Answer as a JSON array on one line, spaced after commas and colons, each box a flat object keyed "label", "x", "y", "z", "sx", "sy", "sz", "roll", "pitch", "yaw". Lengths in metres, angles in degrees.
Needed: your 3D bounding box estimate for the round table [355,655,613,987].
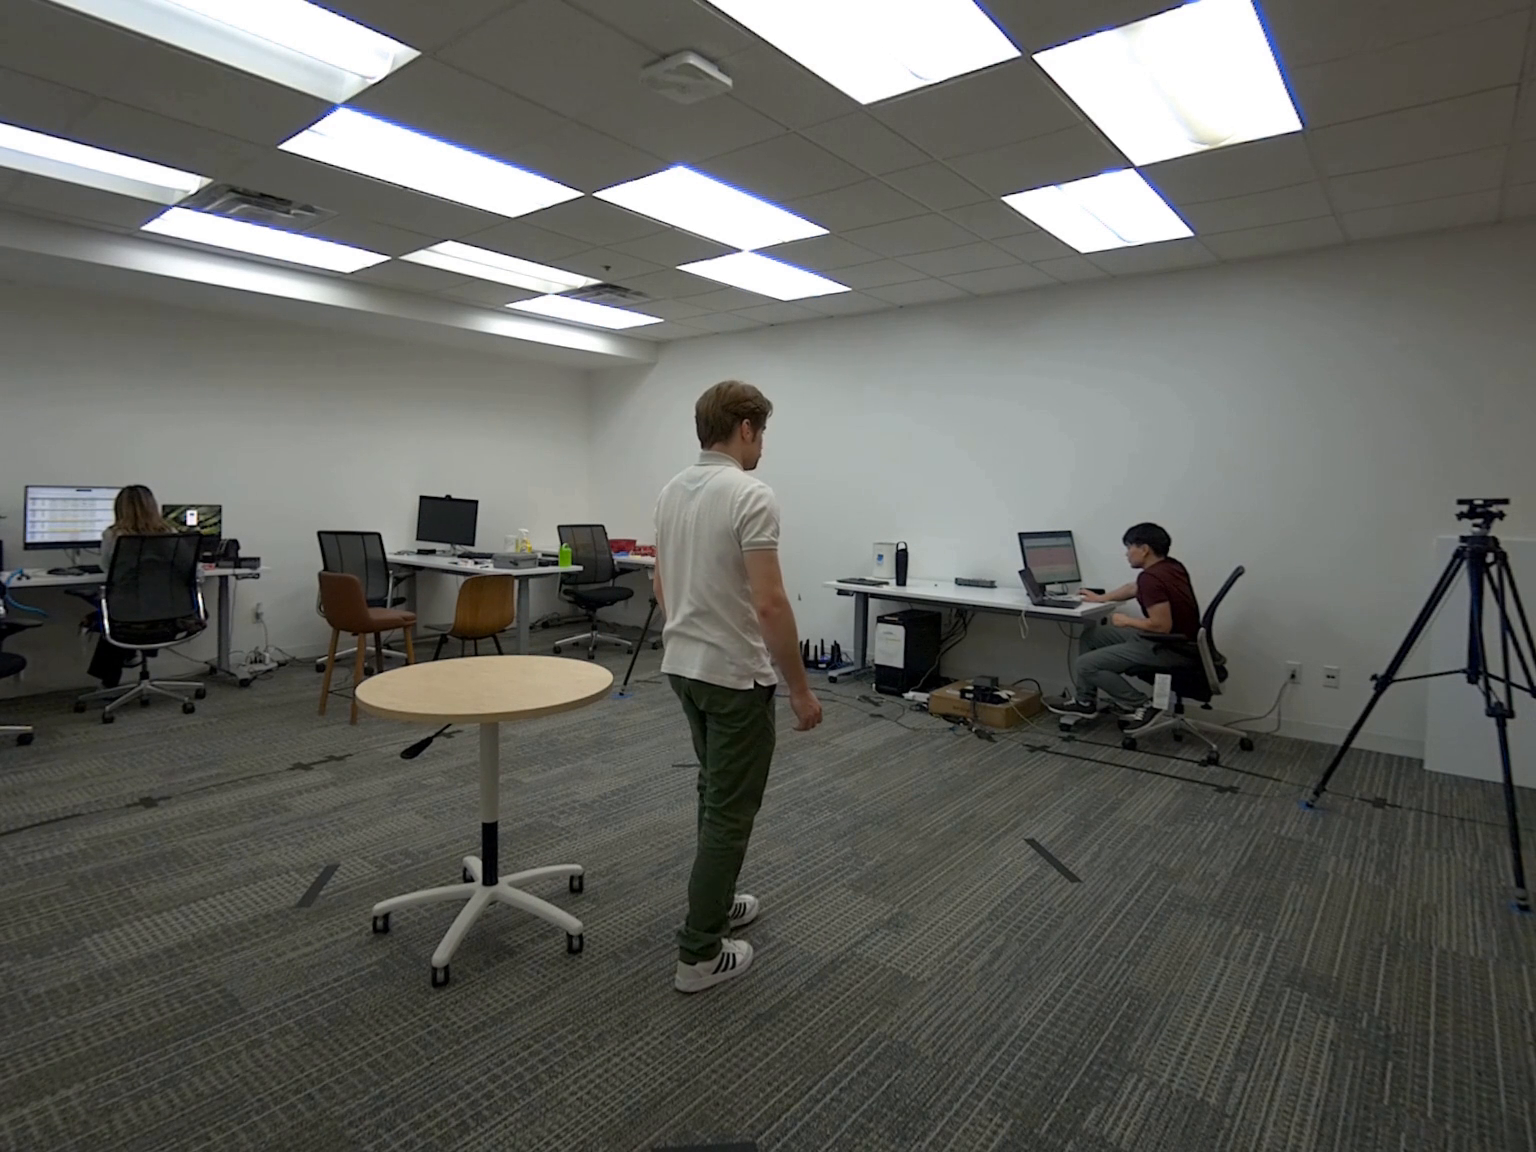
[{"label": "round table", "x": -0.863, "y": 0.710, "z": 2.651, "sx": 0.784, "sy": 0.783, "sz": 0.789, "roll": 0, "pitch": 5, "yaw": -2}]
